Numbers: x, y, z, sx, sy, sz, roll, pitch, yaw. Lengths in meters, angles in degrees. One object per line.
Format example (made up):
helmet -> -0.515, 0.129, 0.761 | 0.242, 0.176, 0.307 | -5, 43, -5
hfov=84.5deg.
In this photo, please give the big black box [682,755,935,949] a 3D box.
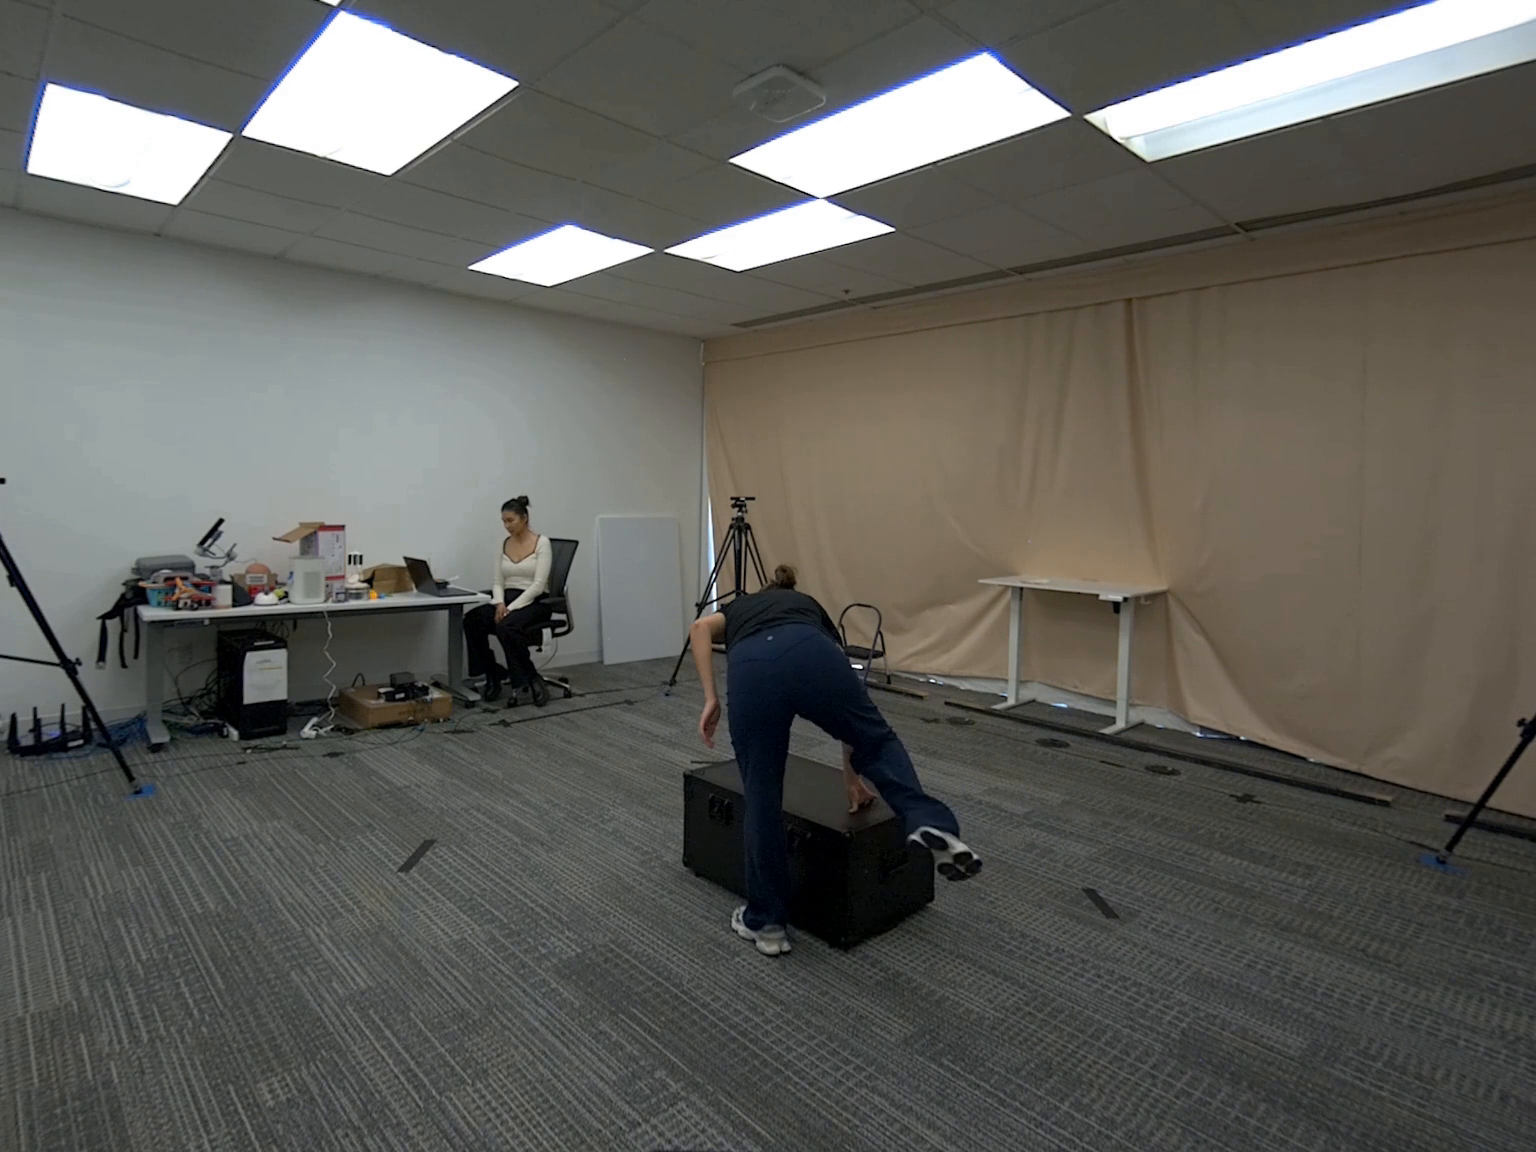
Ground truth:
big black box -> 0.100, 0.915, 3.016 | 0.883, 0.395, 0.509 | 6, 7, 45
